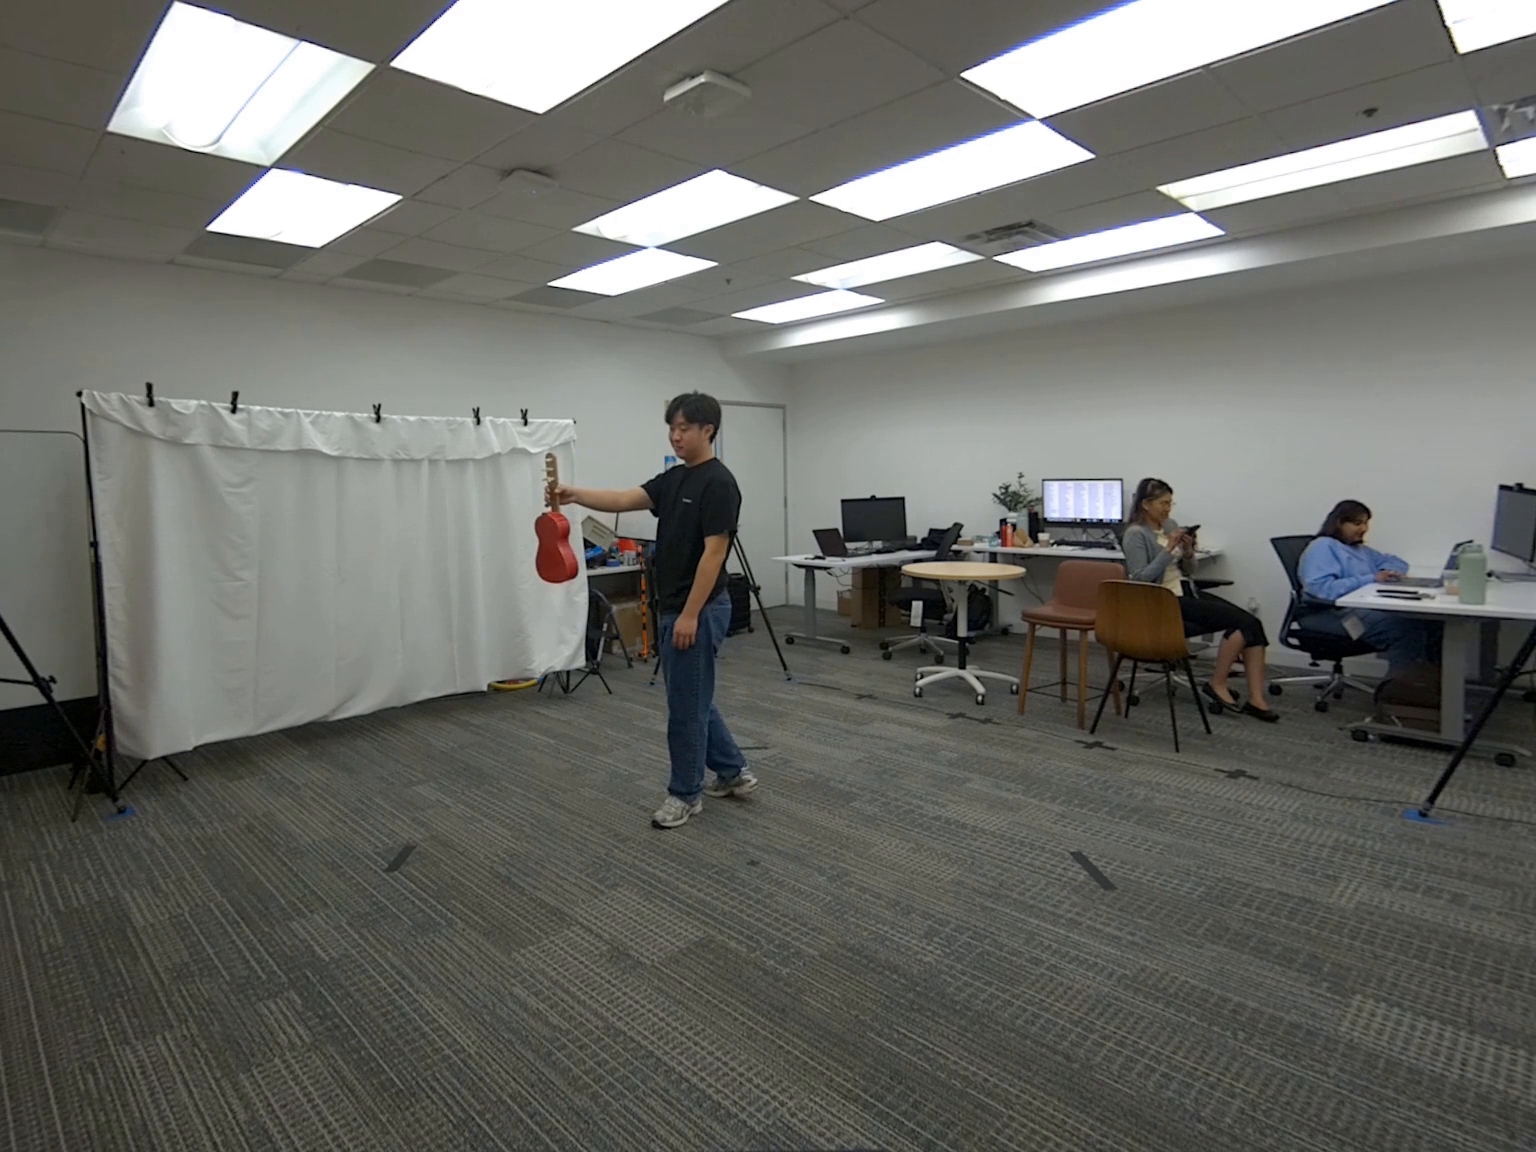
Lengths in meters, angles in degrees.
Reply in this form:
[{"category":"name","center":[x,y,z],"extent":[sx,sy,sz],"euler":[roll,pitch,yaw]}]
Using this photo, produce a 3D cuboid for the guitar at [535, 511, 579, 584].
[{"category":"guitar","center":[-0.851,-0.220,3.317],"extent":[0.198,0.496,0.069],"euler":[-7,4,40]}]
